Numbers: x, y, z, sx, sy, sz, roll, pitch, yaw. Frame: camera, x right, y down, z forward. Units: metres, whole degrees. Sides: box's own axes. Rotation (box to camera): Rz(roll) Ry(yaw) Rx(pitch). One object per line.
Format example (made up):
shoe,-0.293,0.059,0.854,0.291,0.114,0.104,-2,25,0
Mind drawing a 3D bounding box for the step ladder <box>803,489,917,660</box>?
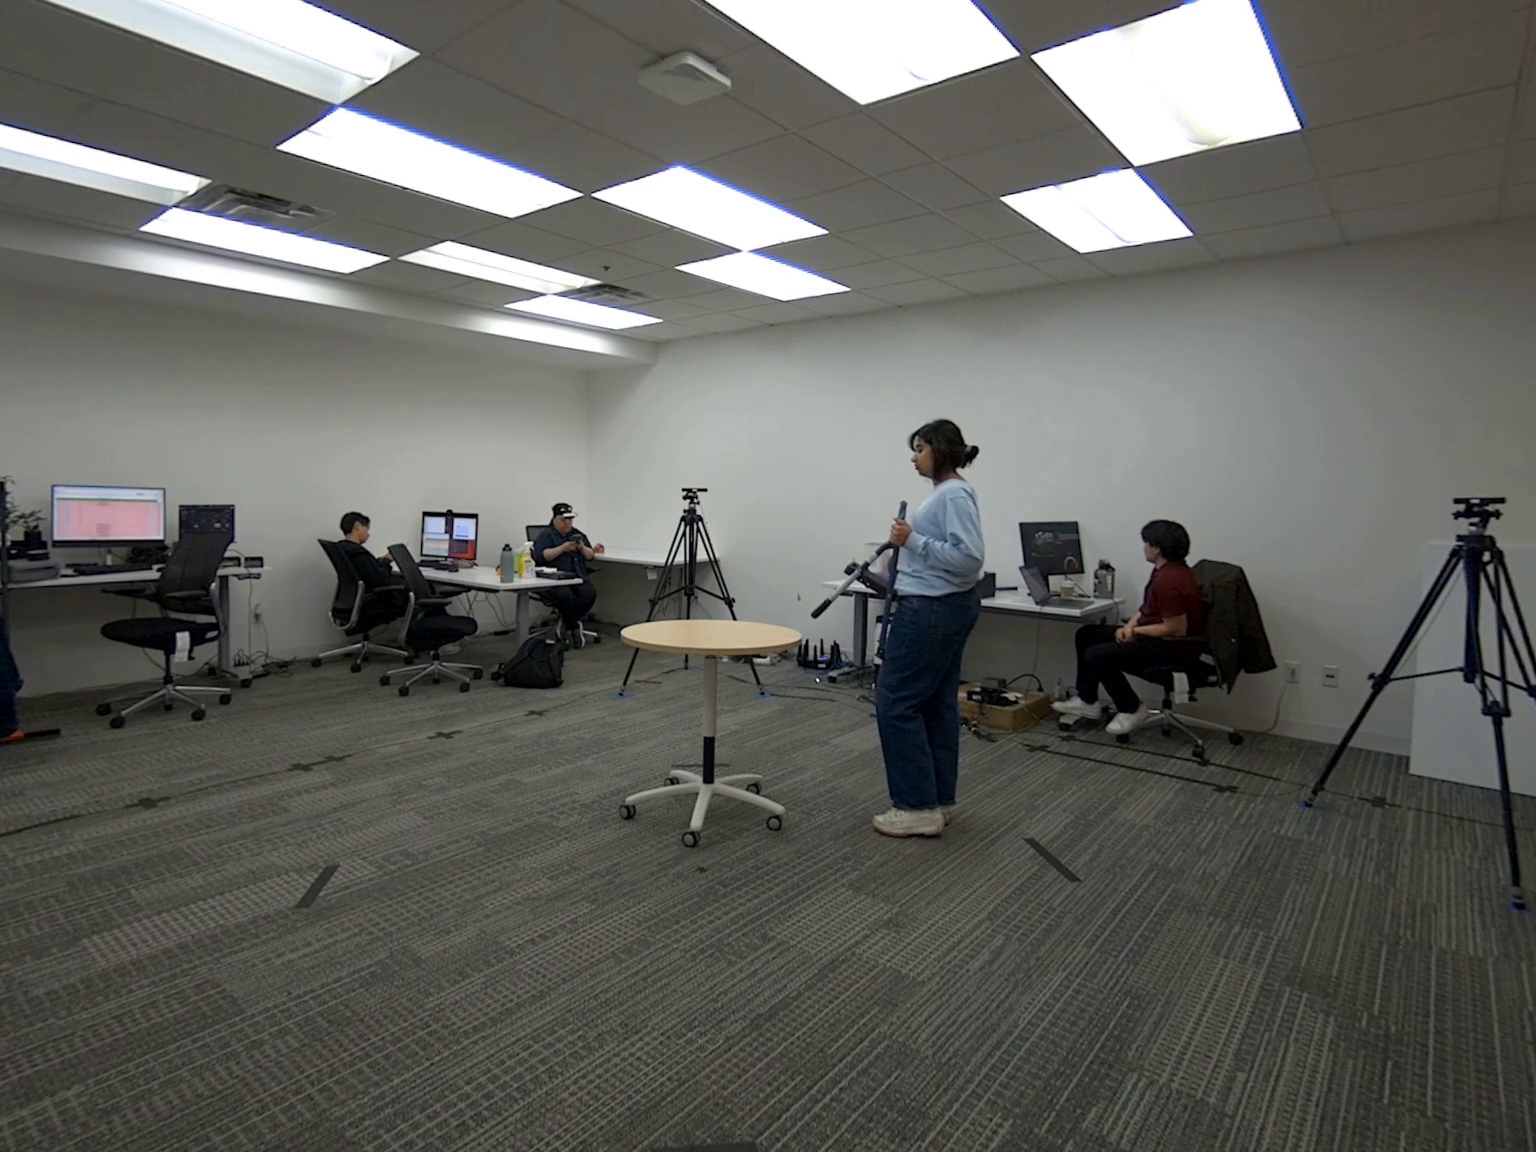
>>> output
step ladder,0.481,-0.024,3.666,0.354,0.604,0.426,31,7,7
